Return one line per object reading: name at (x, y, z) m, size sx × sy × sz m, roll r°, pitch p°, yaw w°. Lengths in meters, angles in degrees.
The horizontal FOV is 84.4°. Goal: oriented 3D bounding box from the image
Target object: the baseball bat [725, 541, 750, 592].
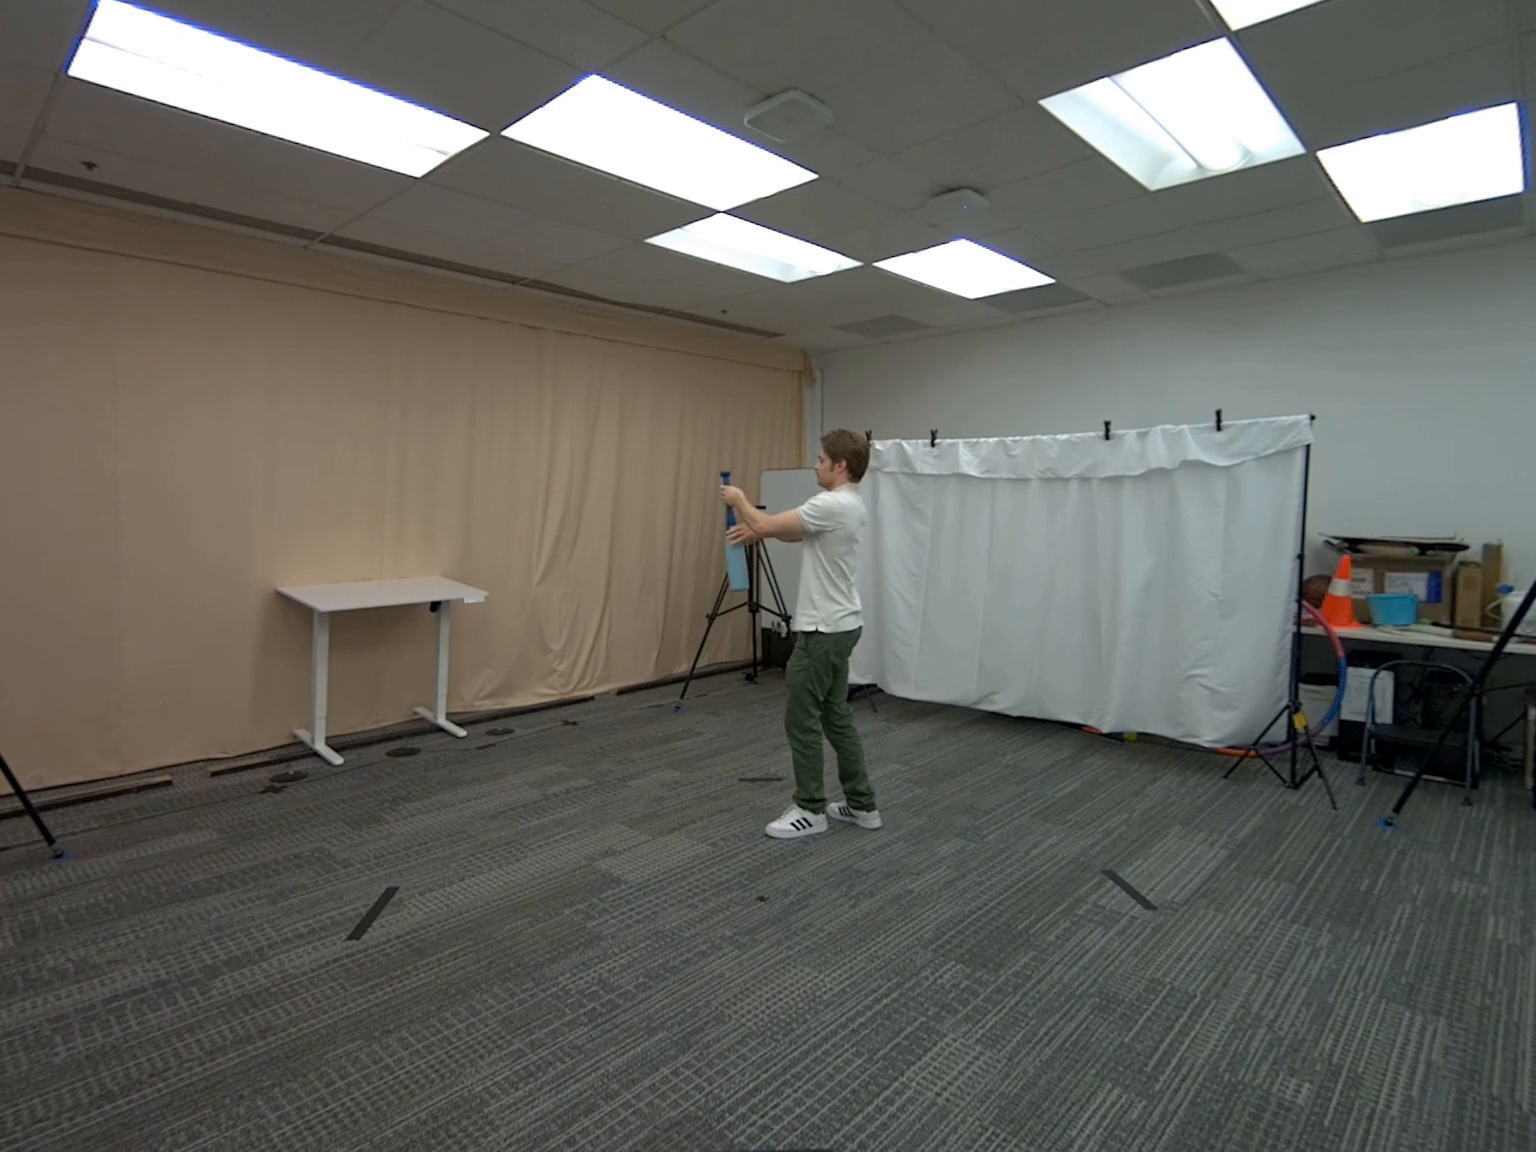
baseball bat at (-0.159, -0.210, 3.773) m, size 0.089 × 0.544 × 0.089 m, roll -8°, pitch -3°, yaw -2°
